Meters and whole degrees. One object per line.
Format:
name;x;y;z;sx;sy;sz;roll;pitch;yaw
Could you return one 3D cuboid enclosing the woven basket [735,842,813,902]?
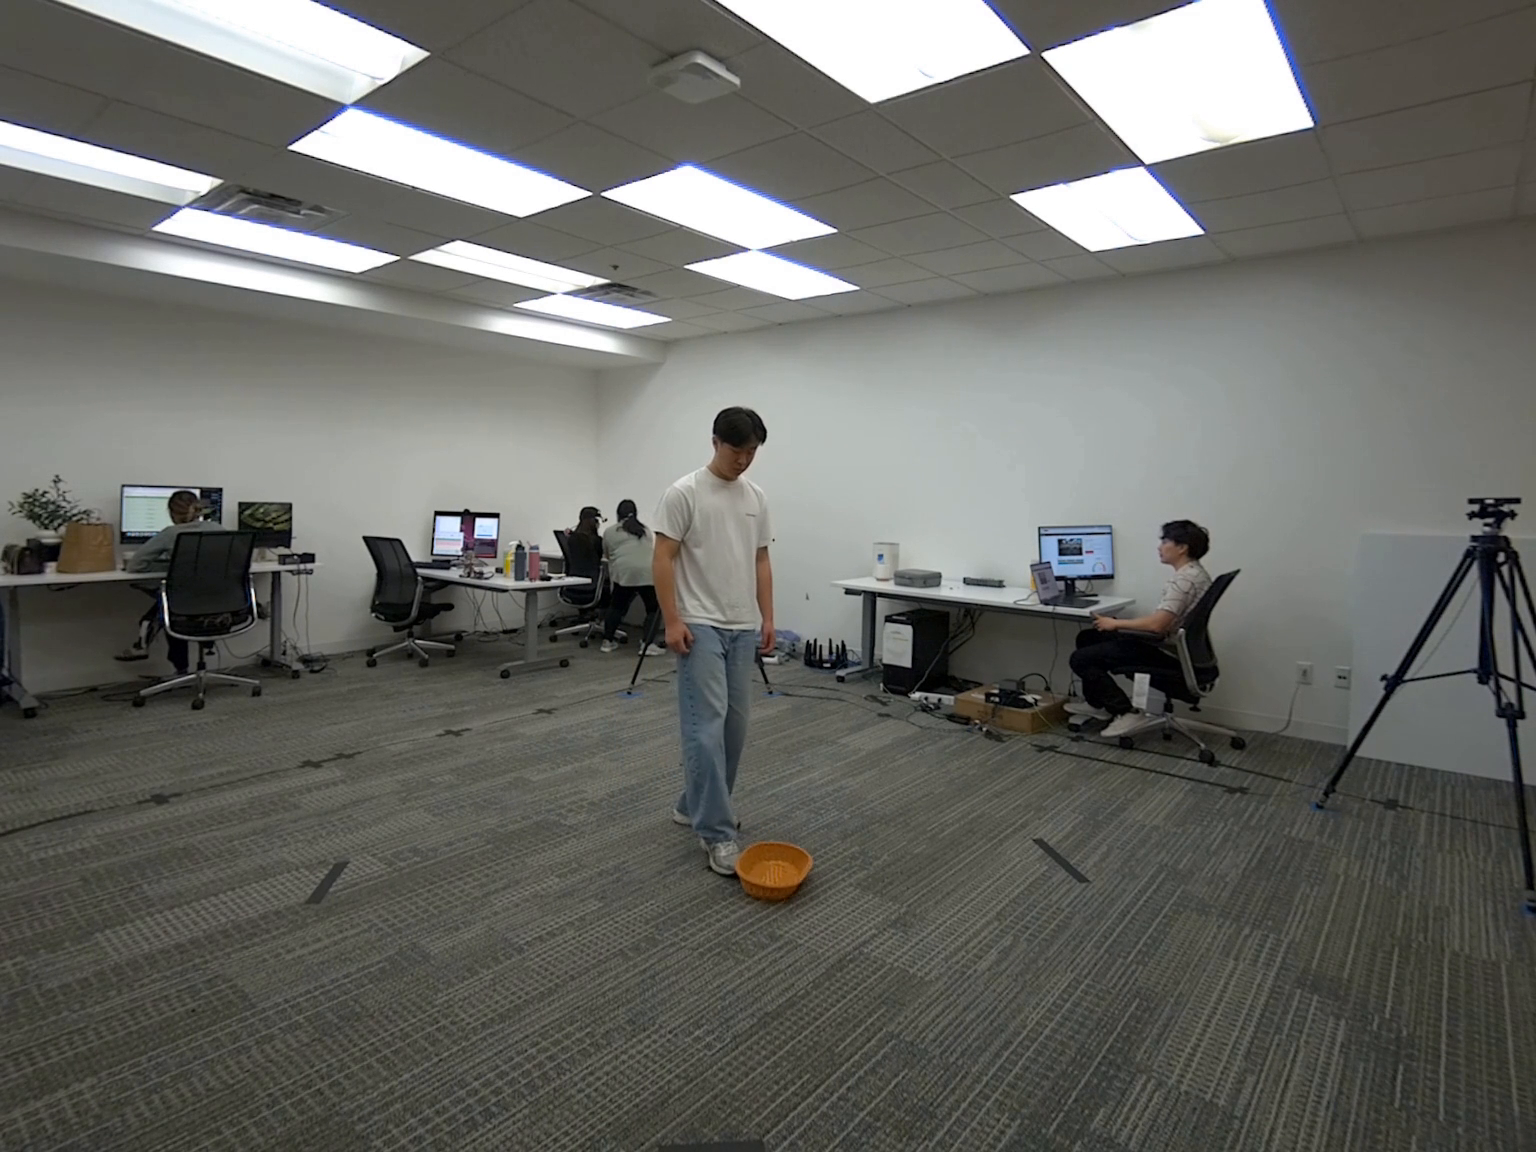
woven basket;0.007;1.038;3.002;0.259;0.073;0.344;8;8;21
